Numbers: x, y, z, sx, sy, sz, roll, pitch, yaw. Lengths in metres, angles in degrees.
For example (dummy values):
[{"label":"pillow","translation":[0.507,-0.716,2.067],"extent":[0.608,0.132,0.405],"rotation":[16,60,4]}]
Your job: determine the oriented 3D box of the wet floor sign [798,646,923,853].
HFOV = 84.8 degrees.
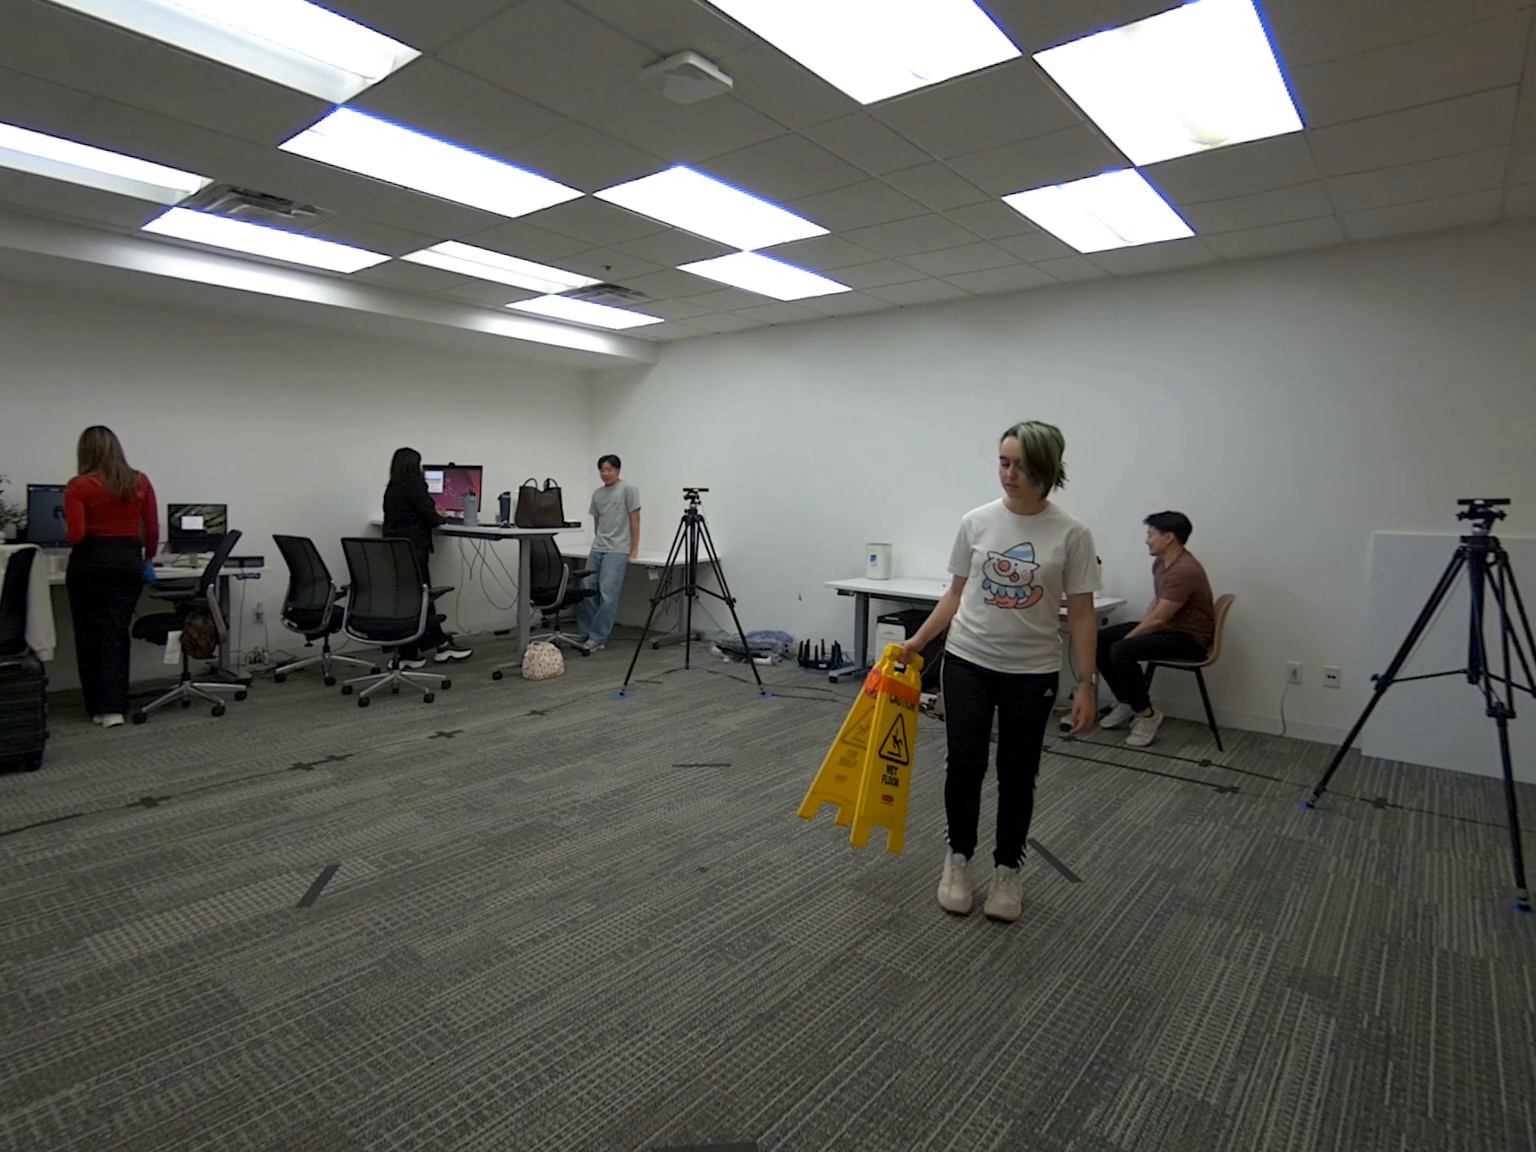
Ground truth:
[{"label":"wet floor sign","translation":[0.366,0.564,2.887],"extent":[0.271,0.649,0.300],"rotation":[25,-9,-41]}]
